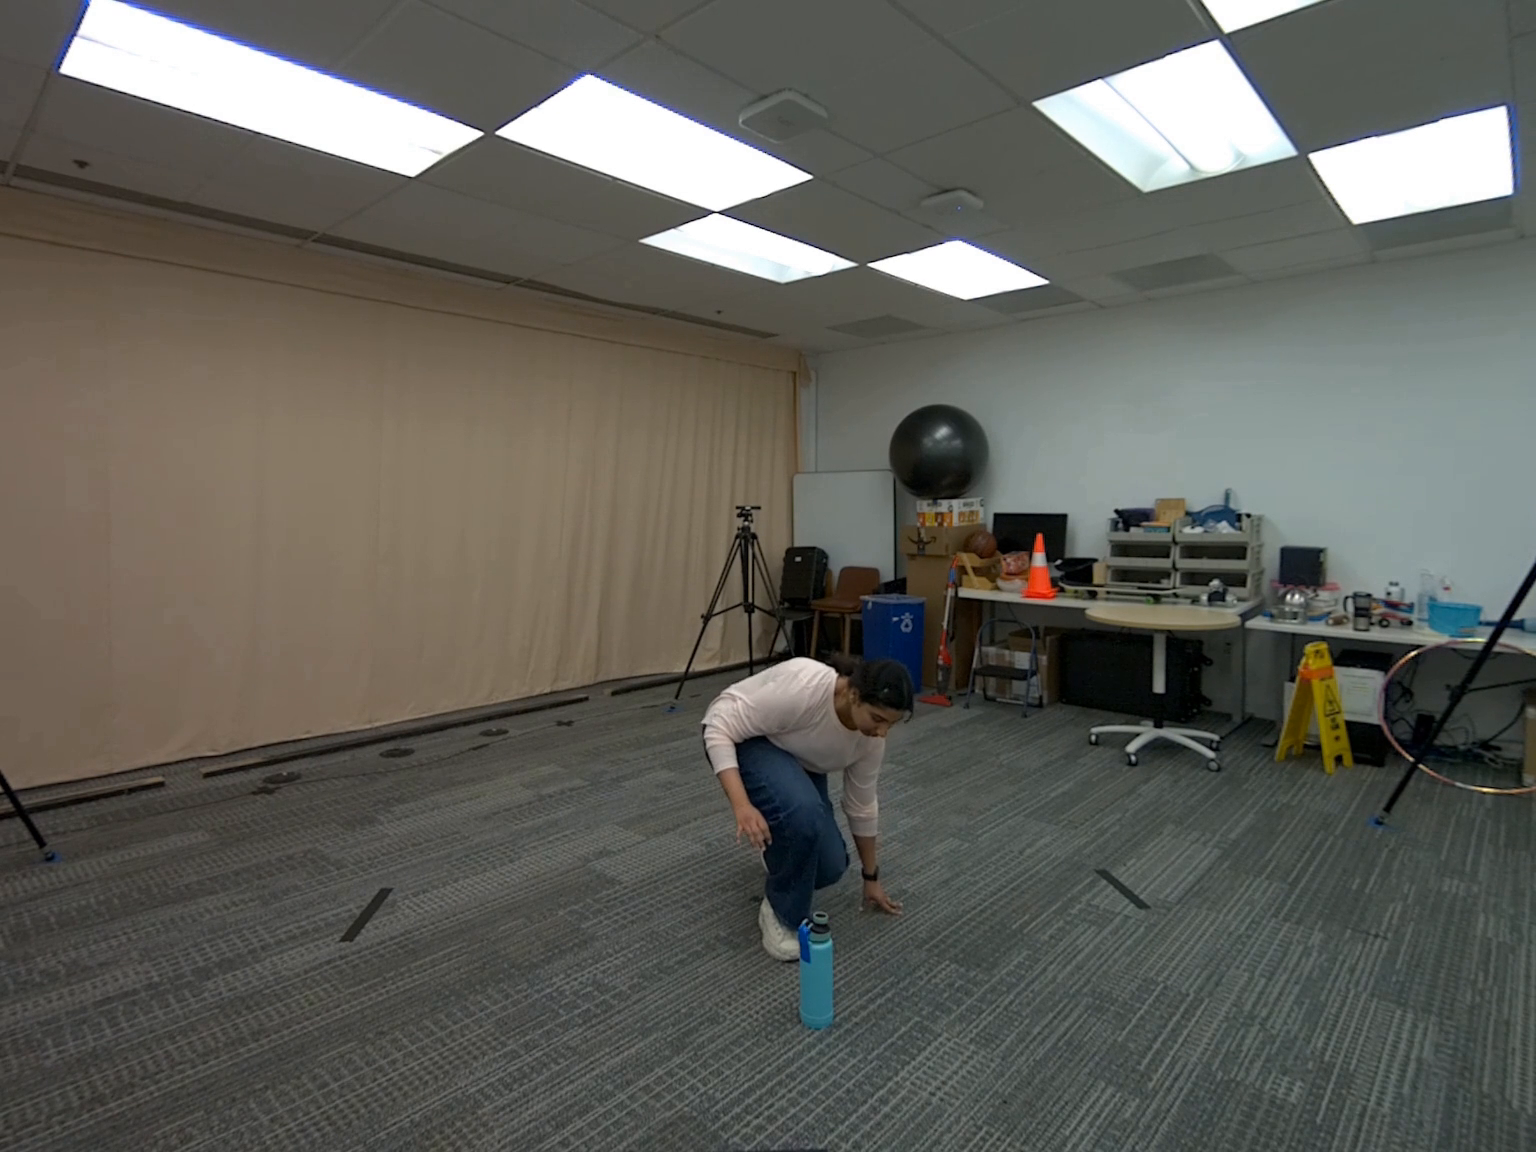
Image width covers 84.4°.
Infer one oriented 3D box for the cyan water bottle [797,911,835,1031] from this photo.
[{"bbox_3d":[0.132,1.056,2.280,0.092,0.283,0.092,0,4,-2],"label":"cyan water bottle"}]
